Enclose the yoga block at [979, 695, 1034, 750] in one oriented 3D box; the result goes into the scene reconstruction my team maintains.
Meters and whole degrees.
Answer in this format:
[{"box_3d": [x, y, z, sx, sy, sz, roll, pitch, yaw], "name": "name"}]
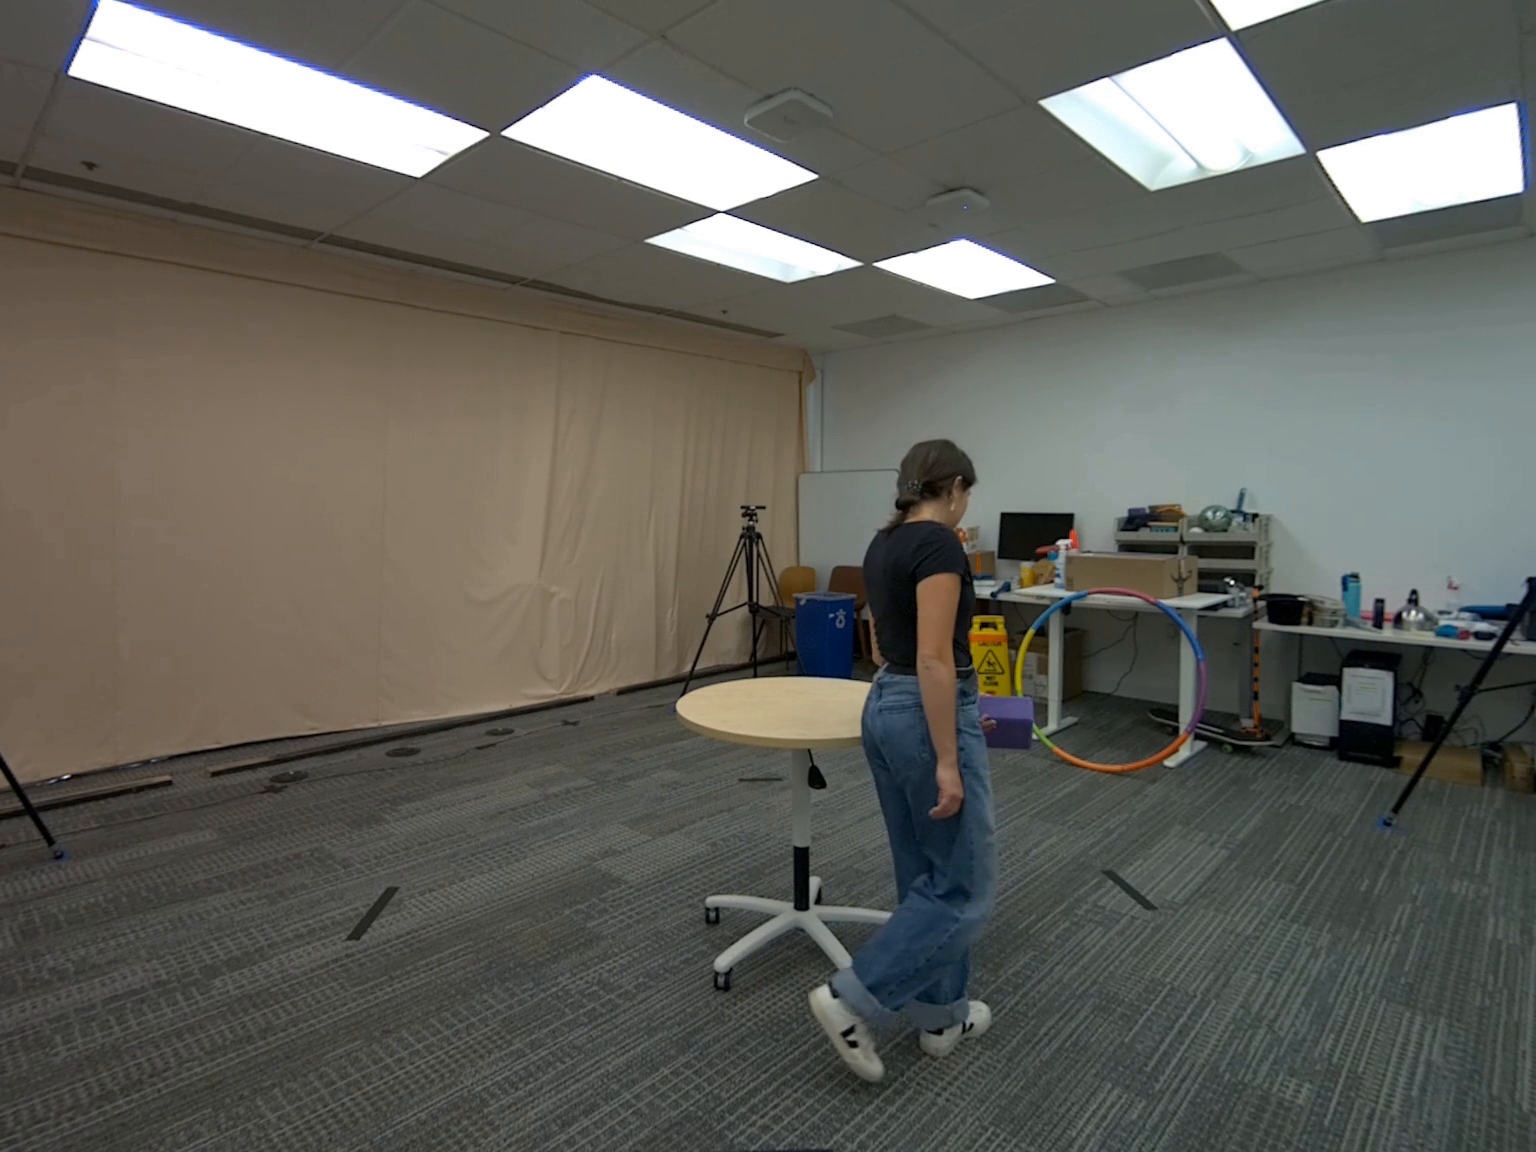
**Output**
[{"box_3d": [0.680, 0.425, 2.399, 0.152, 0.077, 0.222, -1, -32, 18], "name": "yoga block"}]
